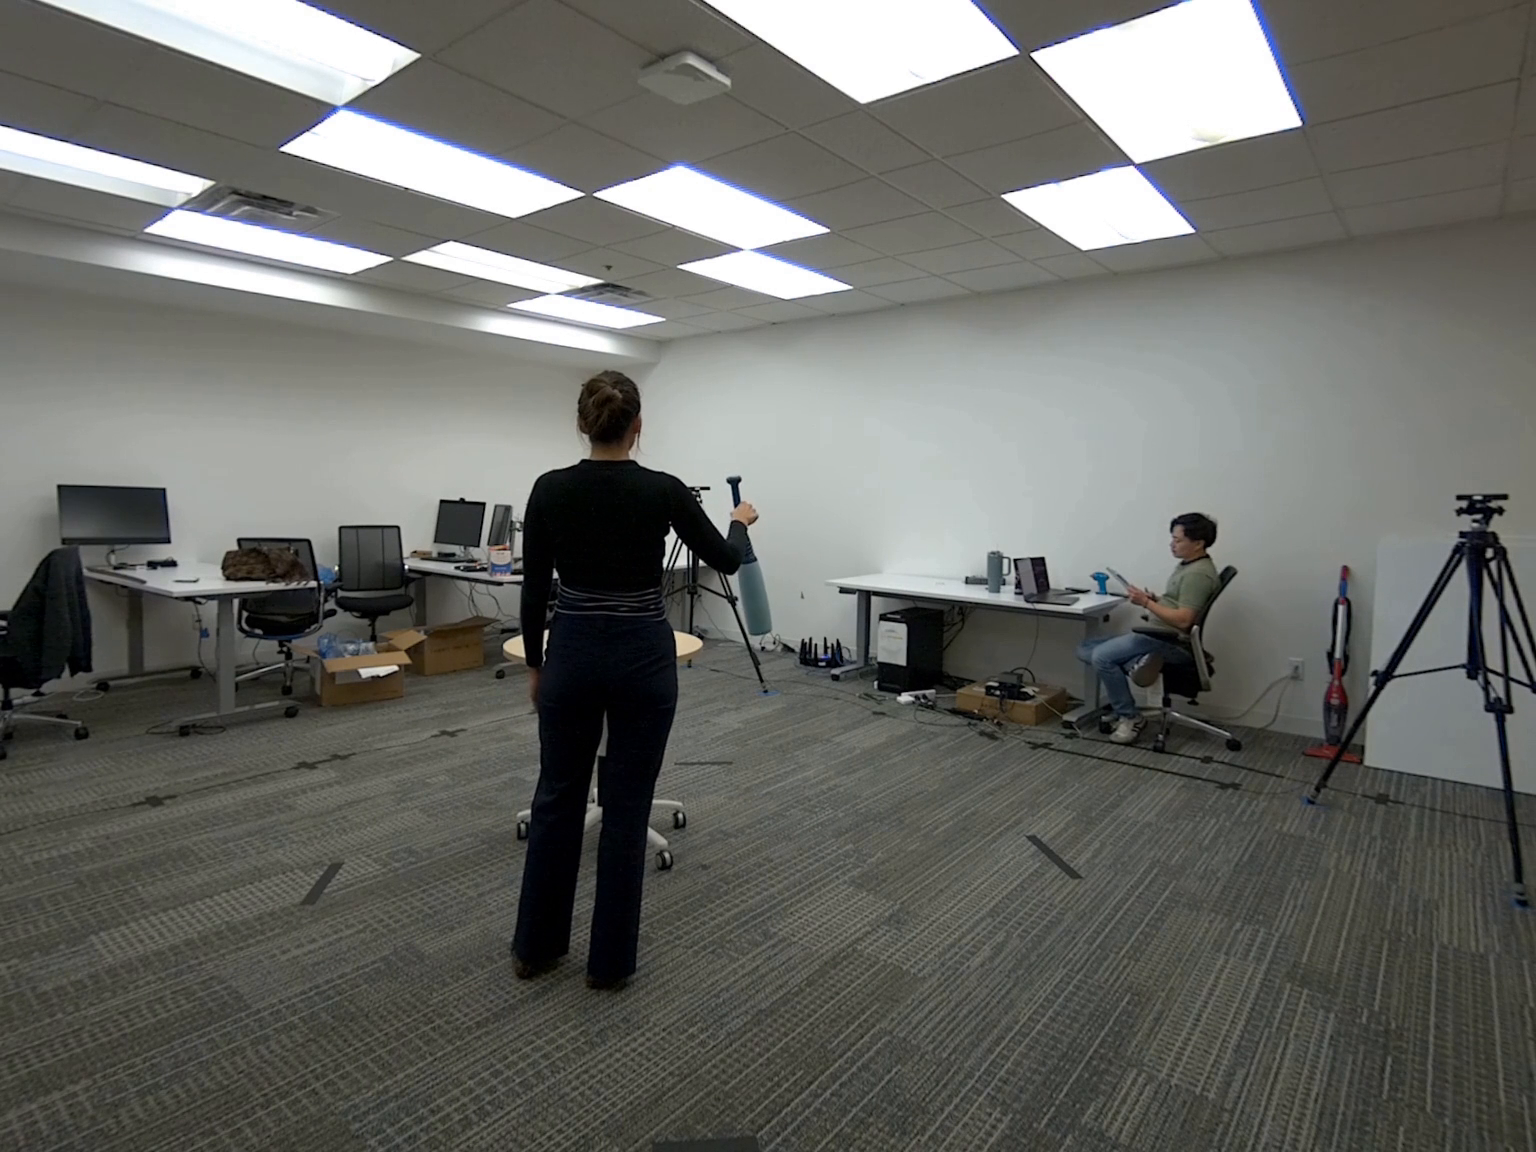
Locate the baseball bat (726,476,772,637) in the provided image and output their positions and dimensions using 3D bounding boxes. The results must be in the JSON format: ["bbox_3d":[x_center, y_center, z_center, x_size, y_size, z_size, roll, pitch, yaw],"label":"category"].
[{"bbox_3d":[-0.082,-0.072,2.831,0.089,0.538,0.090,-10,7,0],"label":"baseball bat"}]
